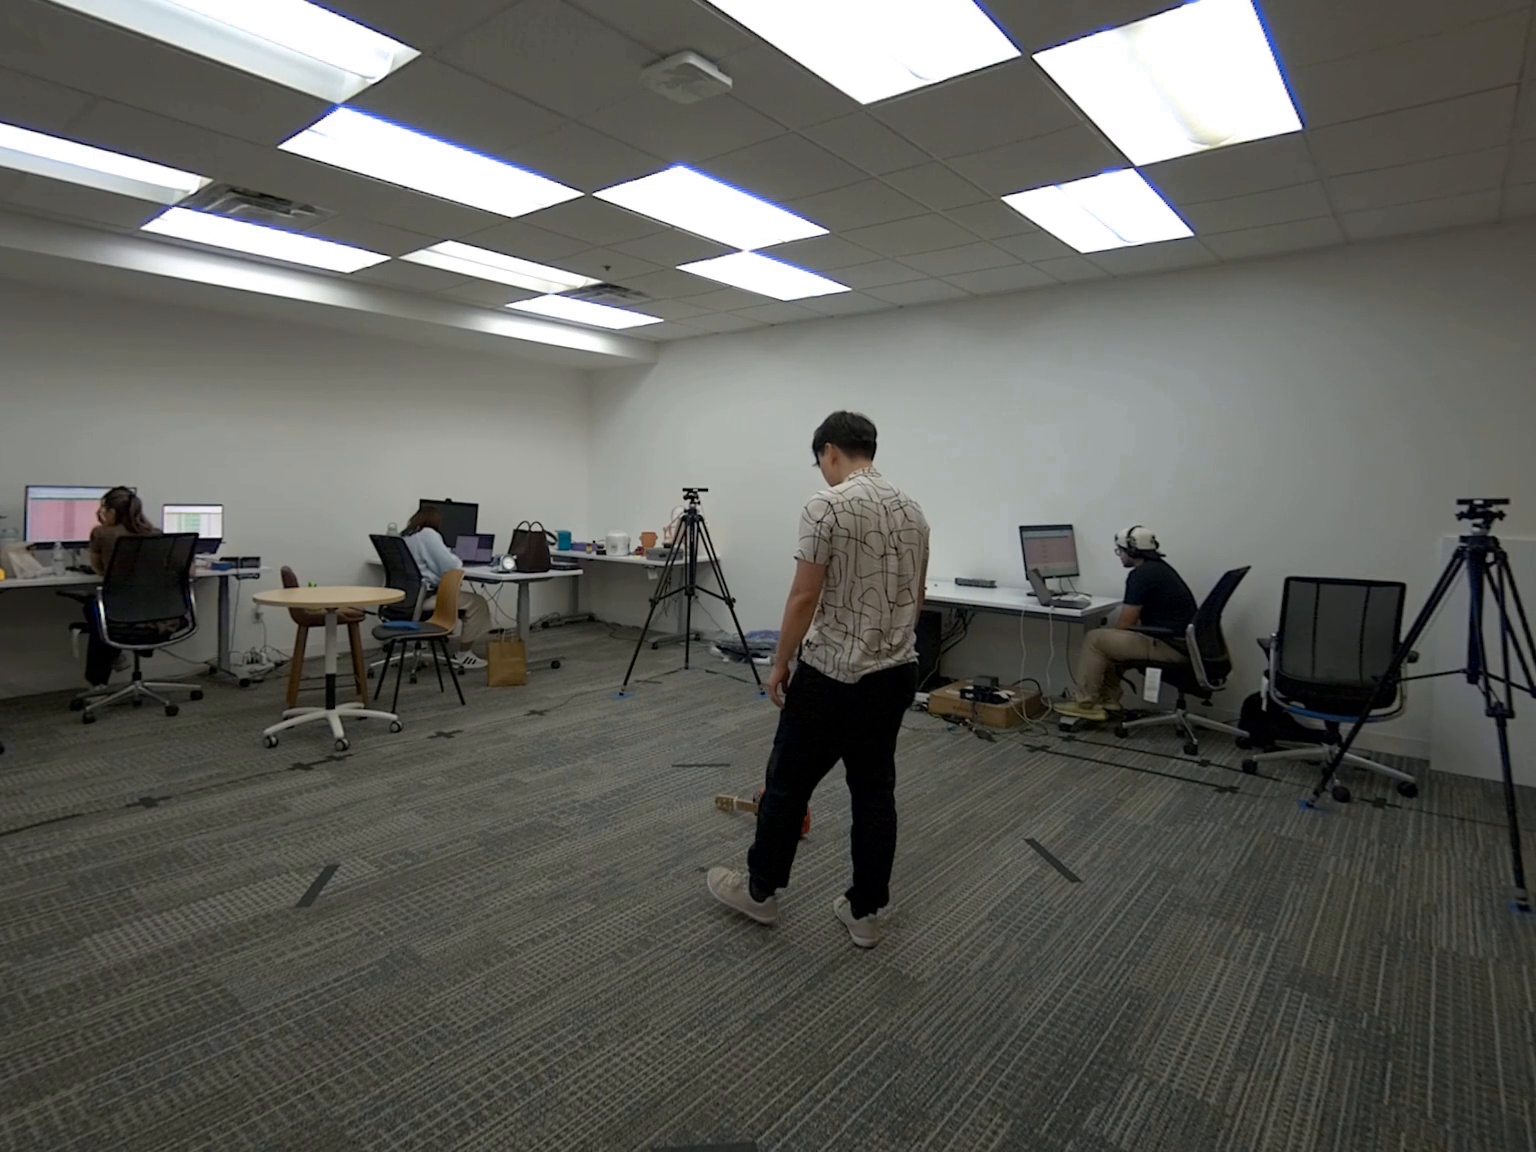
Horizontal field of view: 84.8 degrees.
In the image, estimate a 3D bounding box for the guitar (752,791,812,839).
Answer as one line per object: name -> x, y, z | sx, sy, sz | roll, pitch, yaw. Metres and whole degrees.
guitar -> -0.041, 0.929, 3.550 | 0.069, 0.192, 0.515 | -6, 9, -44
